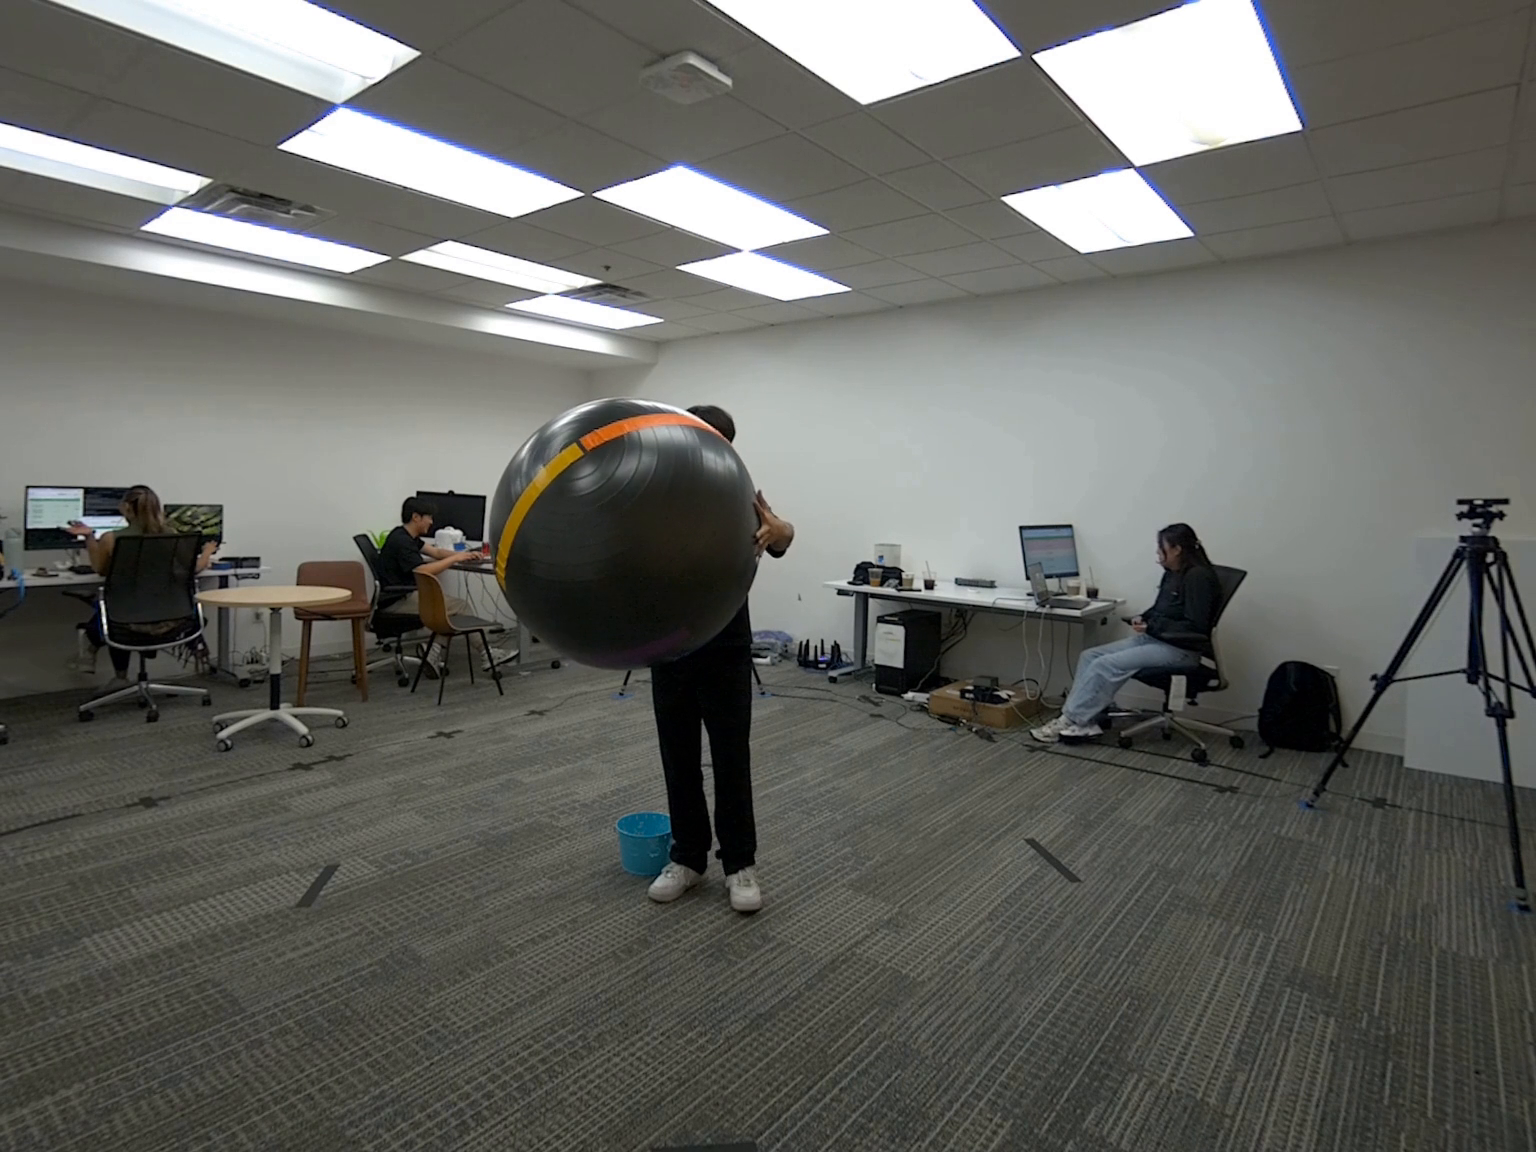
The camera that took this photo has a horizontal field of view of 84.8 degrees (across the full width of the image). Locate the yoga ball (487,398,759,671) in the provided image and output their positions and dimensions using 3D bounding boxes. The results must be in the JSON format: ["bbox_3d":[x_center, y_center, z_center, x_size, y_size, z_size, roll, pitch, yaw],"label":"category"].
[{"bbox_3d":[-0.400,-0.112,2.389,0.757,0.756,0.761,1,4,-2],"label":"yoga ball"}]
